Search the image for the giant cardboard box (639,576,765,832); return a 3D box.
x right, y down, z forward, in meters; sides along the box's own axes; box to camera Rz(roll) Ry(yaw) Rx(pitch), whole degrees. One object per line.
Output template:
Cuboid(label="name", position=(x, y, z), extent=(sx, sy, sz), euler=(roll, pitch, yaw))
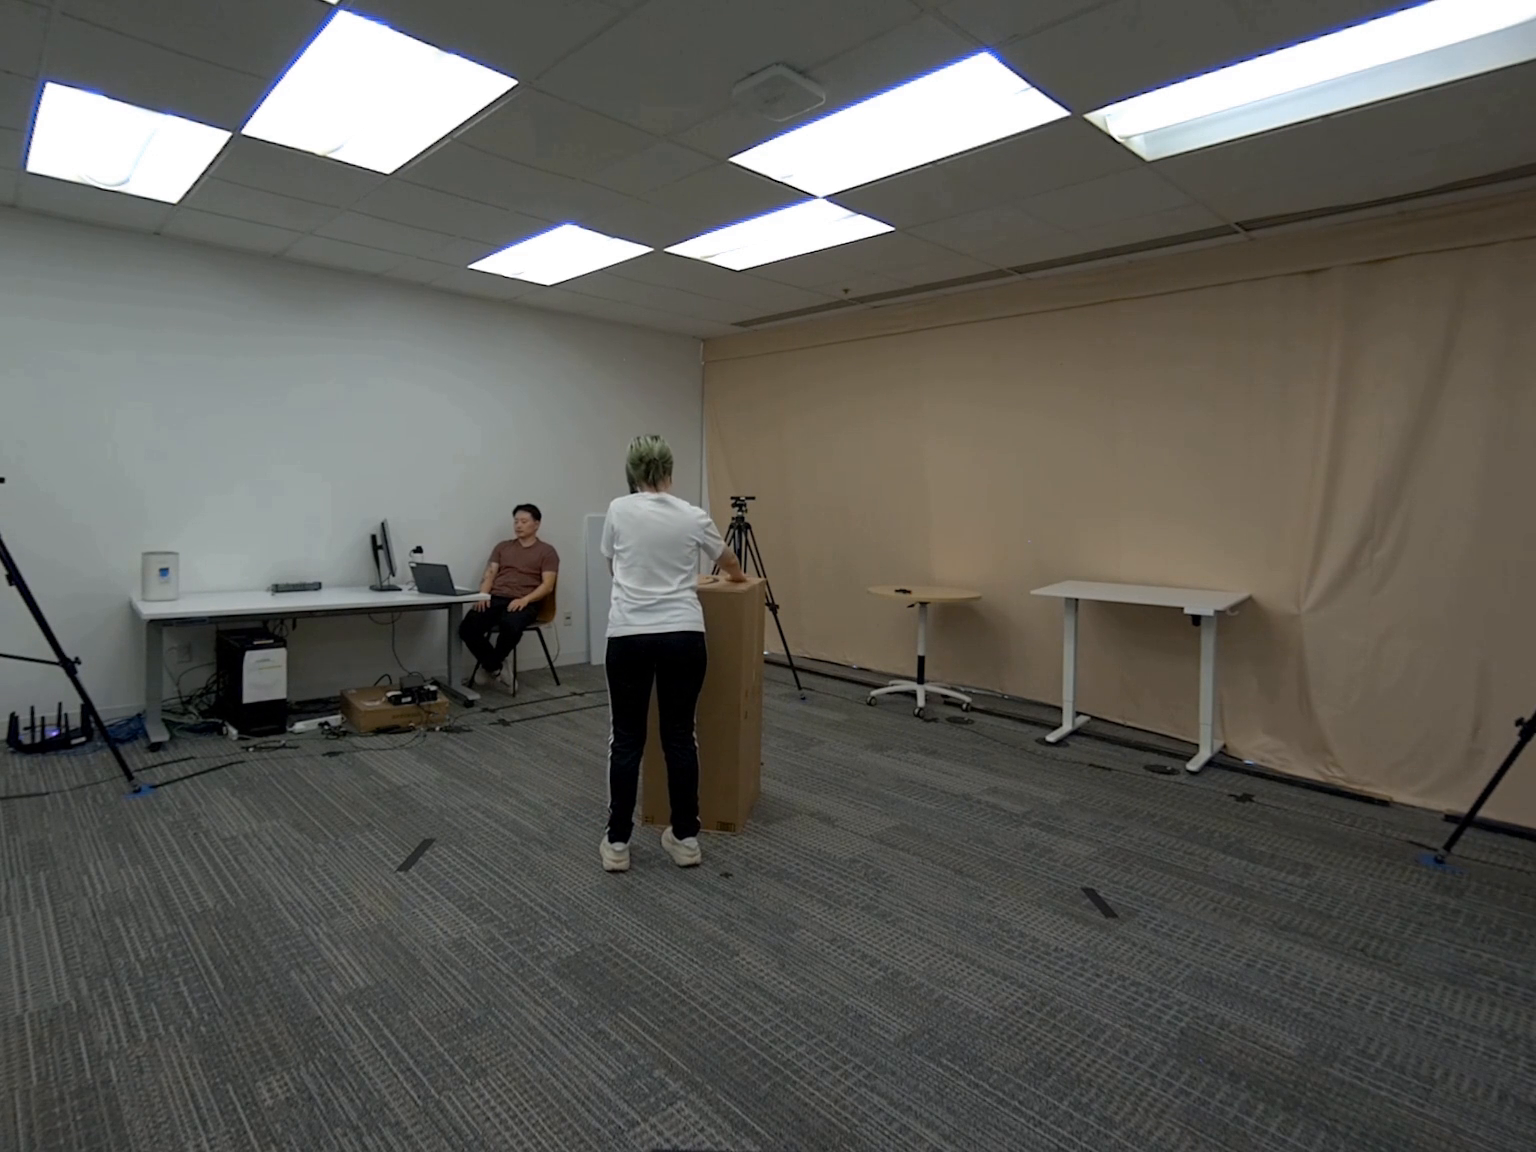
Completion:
Cuboid(label="giant cardboard box", position=(-0.279, 0.536, 3.771), extent=(0.450, 1.024, 0.581), euler=(3, 4, 9))
